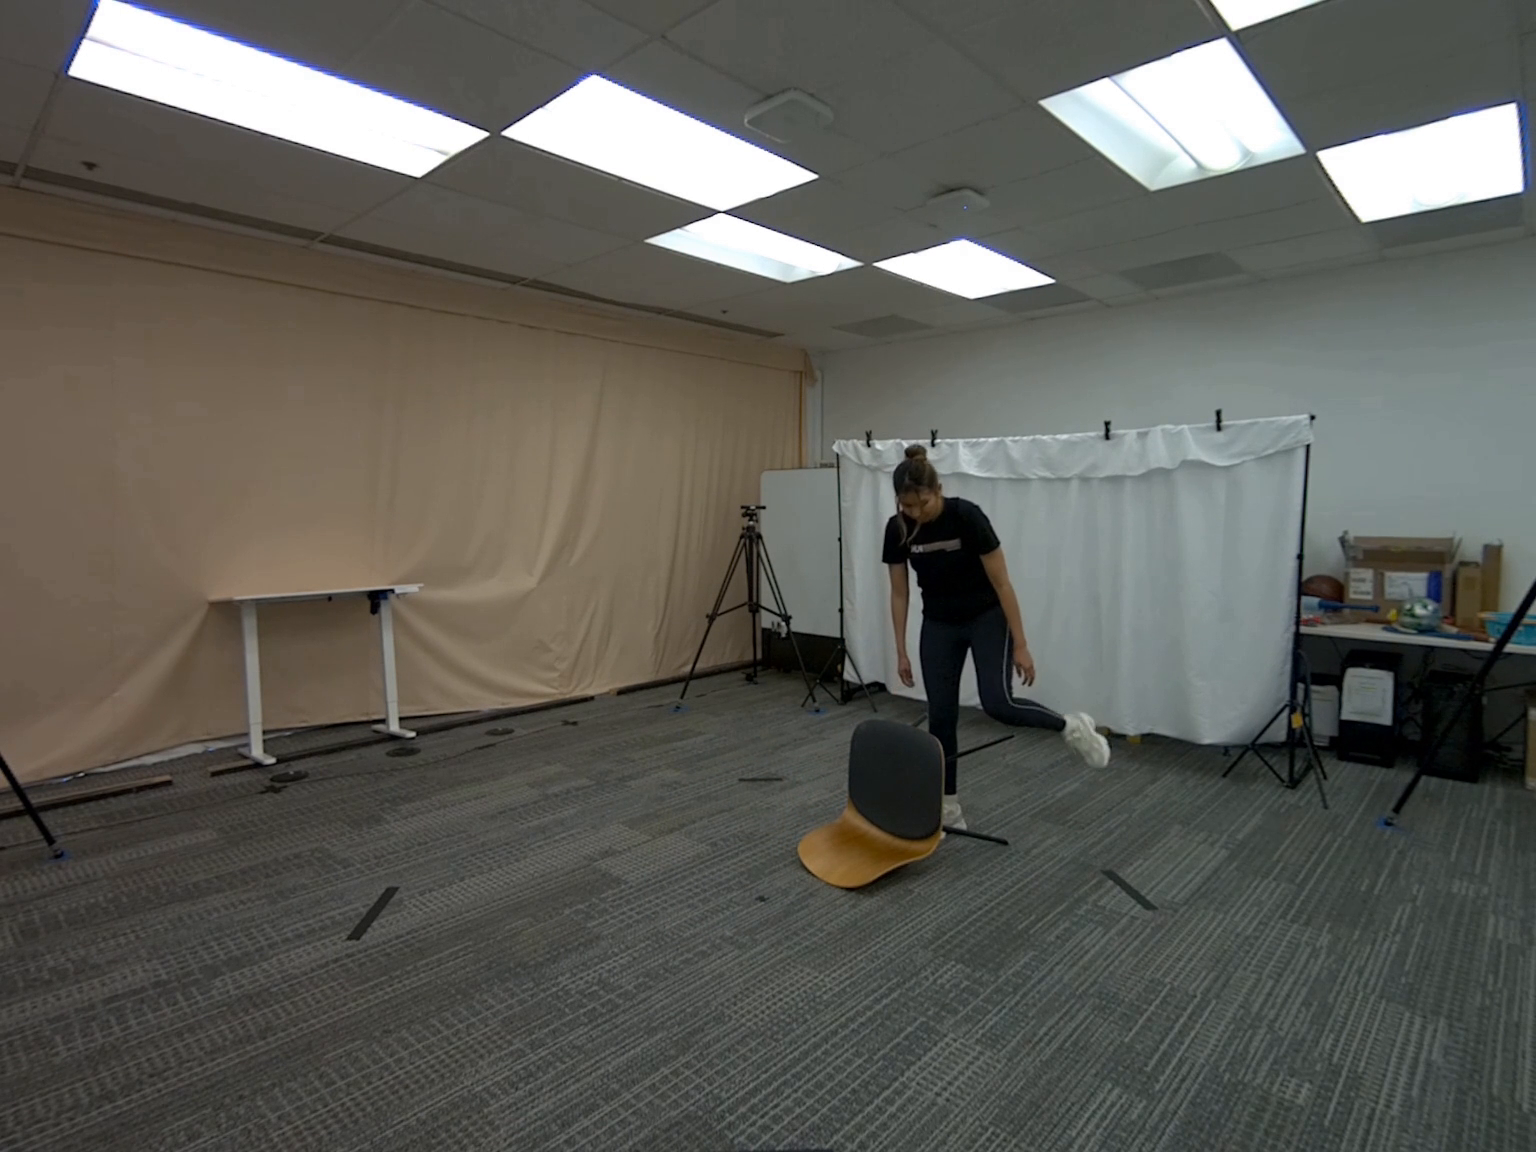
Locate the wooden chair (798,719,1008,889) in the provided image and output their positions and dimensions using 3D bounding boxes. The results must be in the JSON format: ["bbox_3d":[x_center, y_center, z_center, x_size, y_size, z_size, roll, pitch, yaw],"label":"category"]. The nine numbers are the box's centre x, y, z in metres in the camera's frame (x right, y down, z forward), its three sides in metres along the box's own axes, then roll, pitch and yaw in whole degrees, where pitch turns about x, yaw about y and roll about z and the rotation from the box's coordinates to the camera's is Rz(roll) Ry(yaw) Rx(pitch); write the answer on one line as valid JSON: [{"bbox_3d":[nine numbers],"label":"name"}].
[{"bbox_3d":[0.529,0.848,3.368,0.851,0.522,0.494,-5,6,-40],"label":"wooden chair"}]
